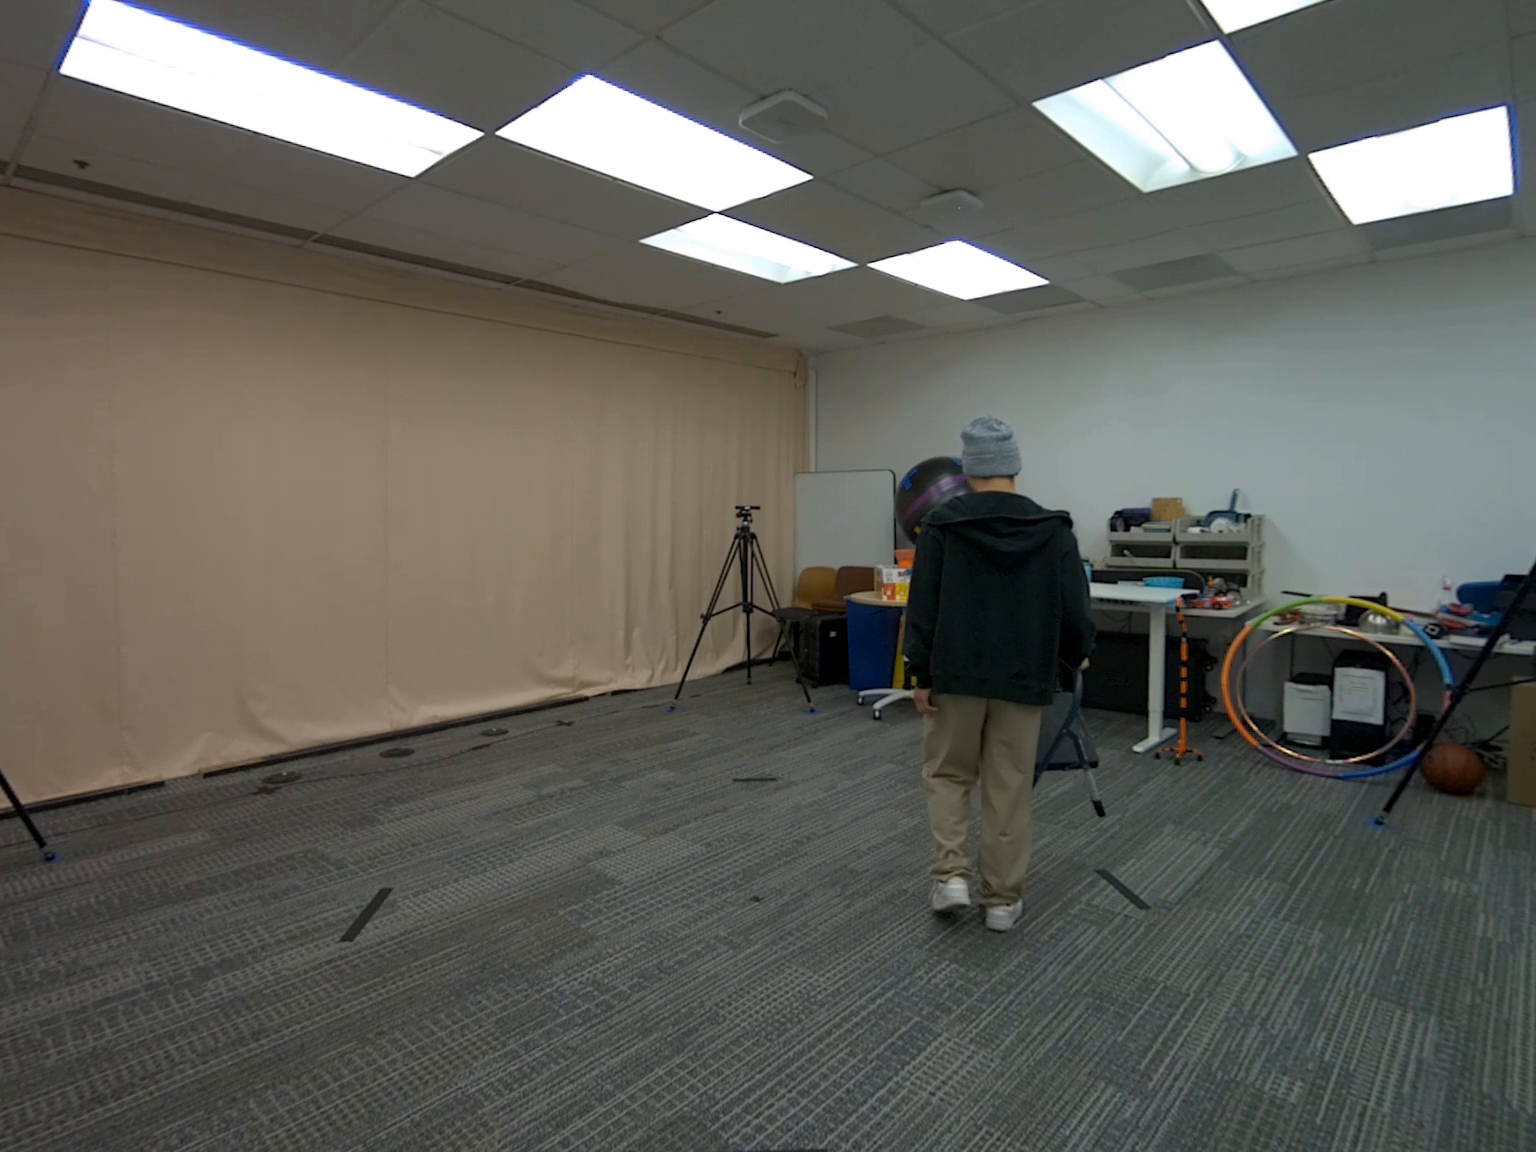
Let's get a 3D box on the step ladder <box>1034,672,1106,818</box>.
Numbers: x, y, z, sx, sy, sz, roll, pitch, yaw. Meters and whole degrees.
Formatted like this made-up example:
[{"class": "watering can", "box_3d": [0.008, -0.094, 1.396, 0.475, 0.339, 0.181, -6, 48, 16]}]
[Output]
[{"class": "step ladder", "box_3d": [1.023, 0.527, 3.063, 0.352, 0.593, 0.437, -6, 33, 6]}]
